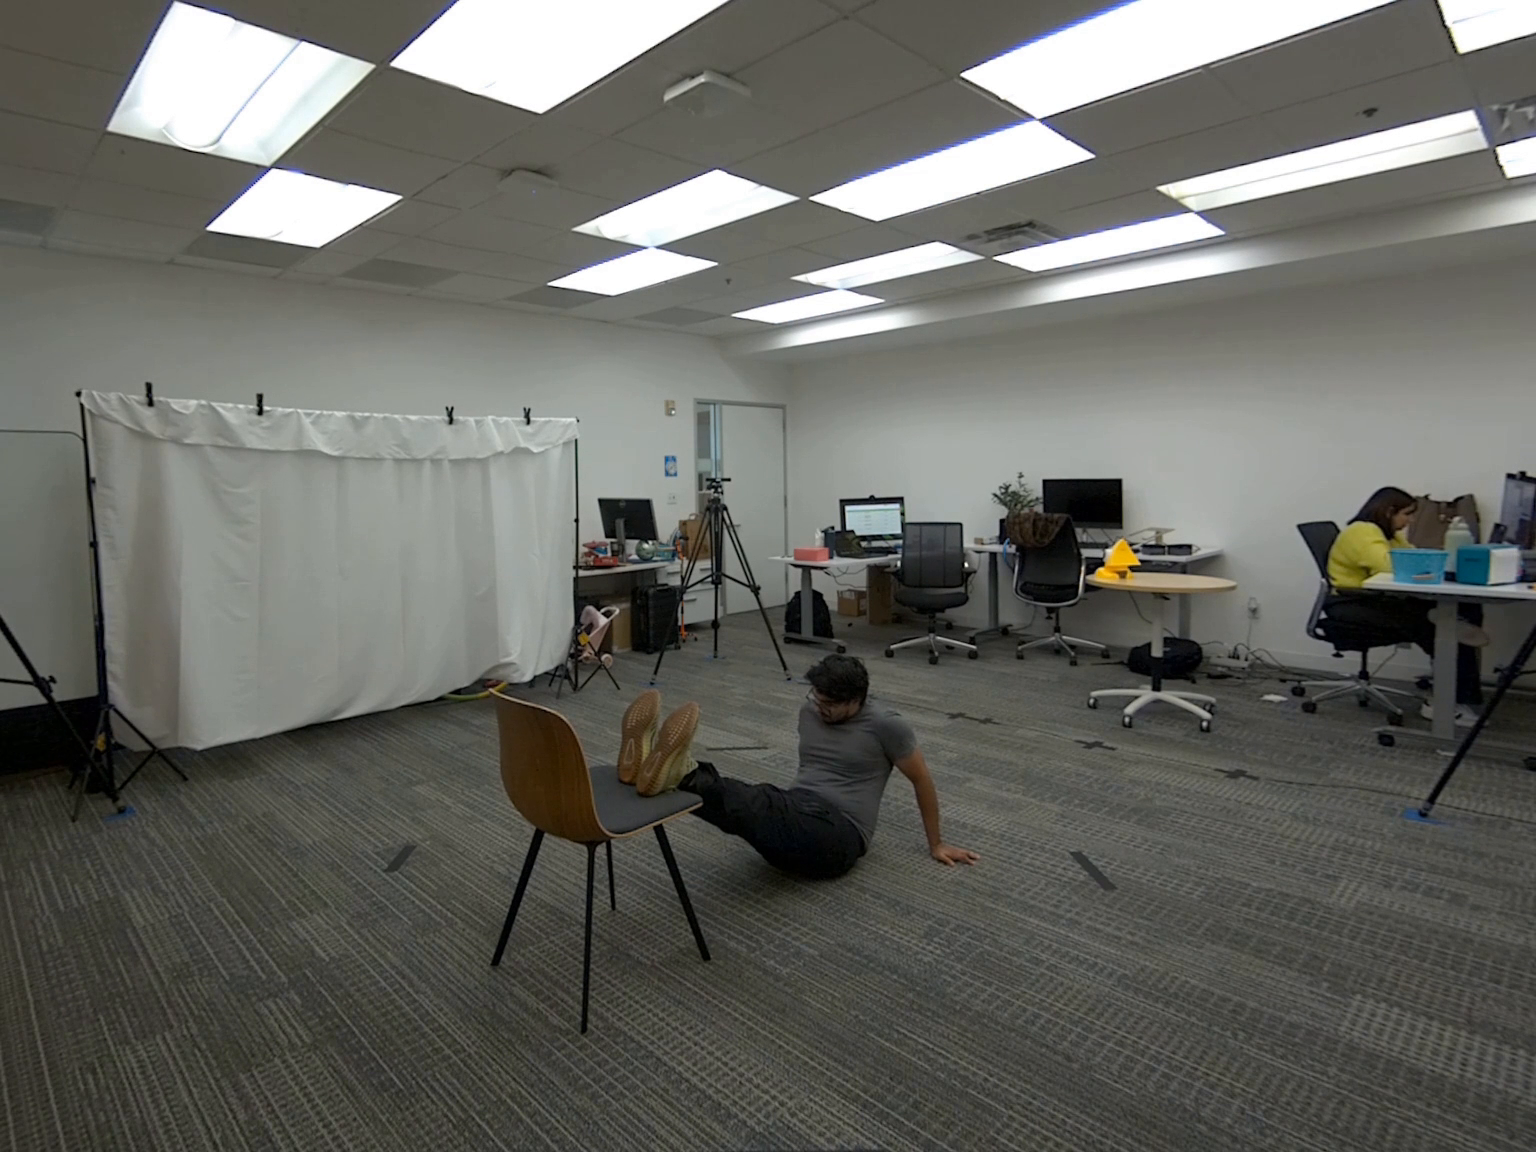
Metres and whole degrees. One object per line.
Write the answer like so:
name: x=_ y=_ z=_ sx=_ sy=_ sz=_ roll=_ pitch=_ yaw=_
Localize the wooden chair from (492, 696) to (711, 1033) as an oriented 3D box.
wooden chair: x=-0.483 y=0.703 z=2.452 sx=0.493 sy=0.871 sz=0.511 roll=3 pitch=10 yaw=43
